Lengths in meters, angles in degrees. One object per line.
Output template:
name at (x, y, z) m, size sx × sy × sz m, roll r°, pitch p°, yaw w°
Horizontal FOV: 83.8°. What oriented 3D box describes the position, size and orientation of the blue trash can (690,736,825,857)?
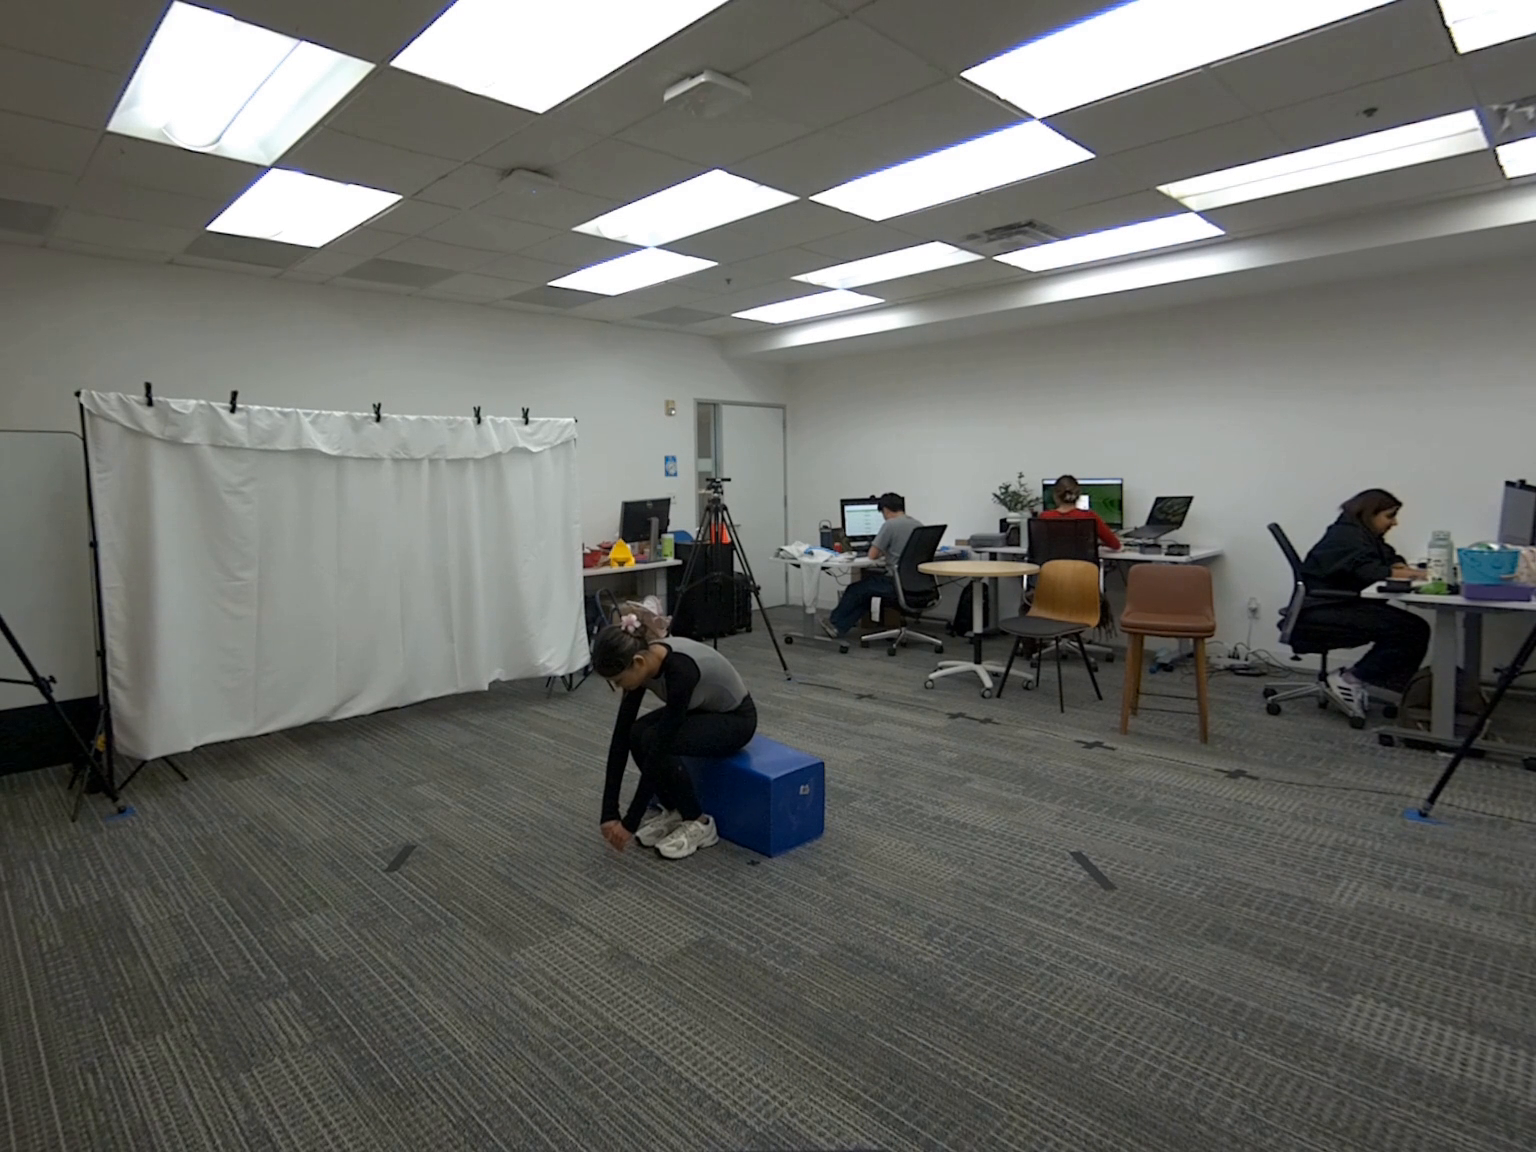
blue trash can at (-0.132, 0.826, 3.488) m, size 0.368 × 0.372 × 0.736 m, roll -5°, pitch 9°, yaw -45°
